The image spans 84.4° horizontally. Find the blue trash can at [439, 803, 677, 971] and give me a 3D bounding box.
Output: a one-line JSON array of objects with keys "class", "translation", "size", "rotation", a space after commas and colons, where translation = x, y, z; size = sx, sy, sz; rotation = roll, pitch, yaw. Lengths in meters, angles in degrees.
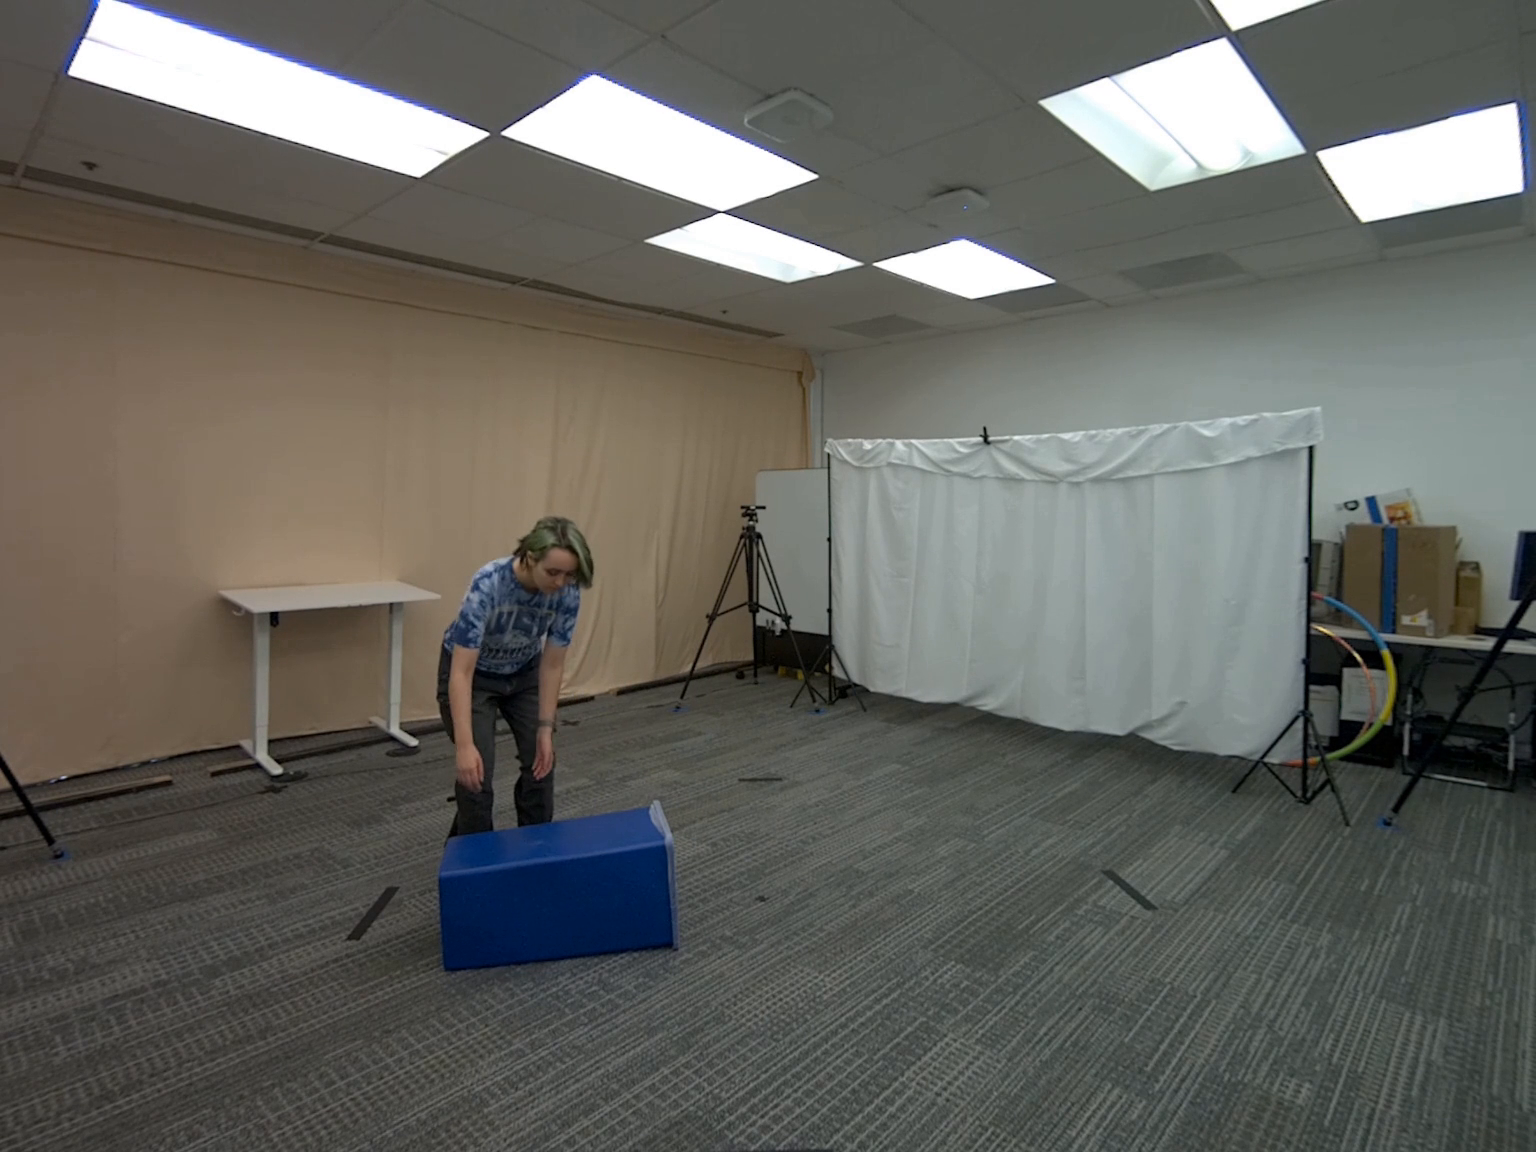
[{"class": "blue trash can", "translation": [-0.667, 0.994, 2.723], "size": [0.704, 0.373, 0.384], "rotation": [-3, 4, -13]}]
